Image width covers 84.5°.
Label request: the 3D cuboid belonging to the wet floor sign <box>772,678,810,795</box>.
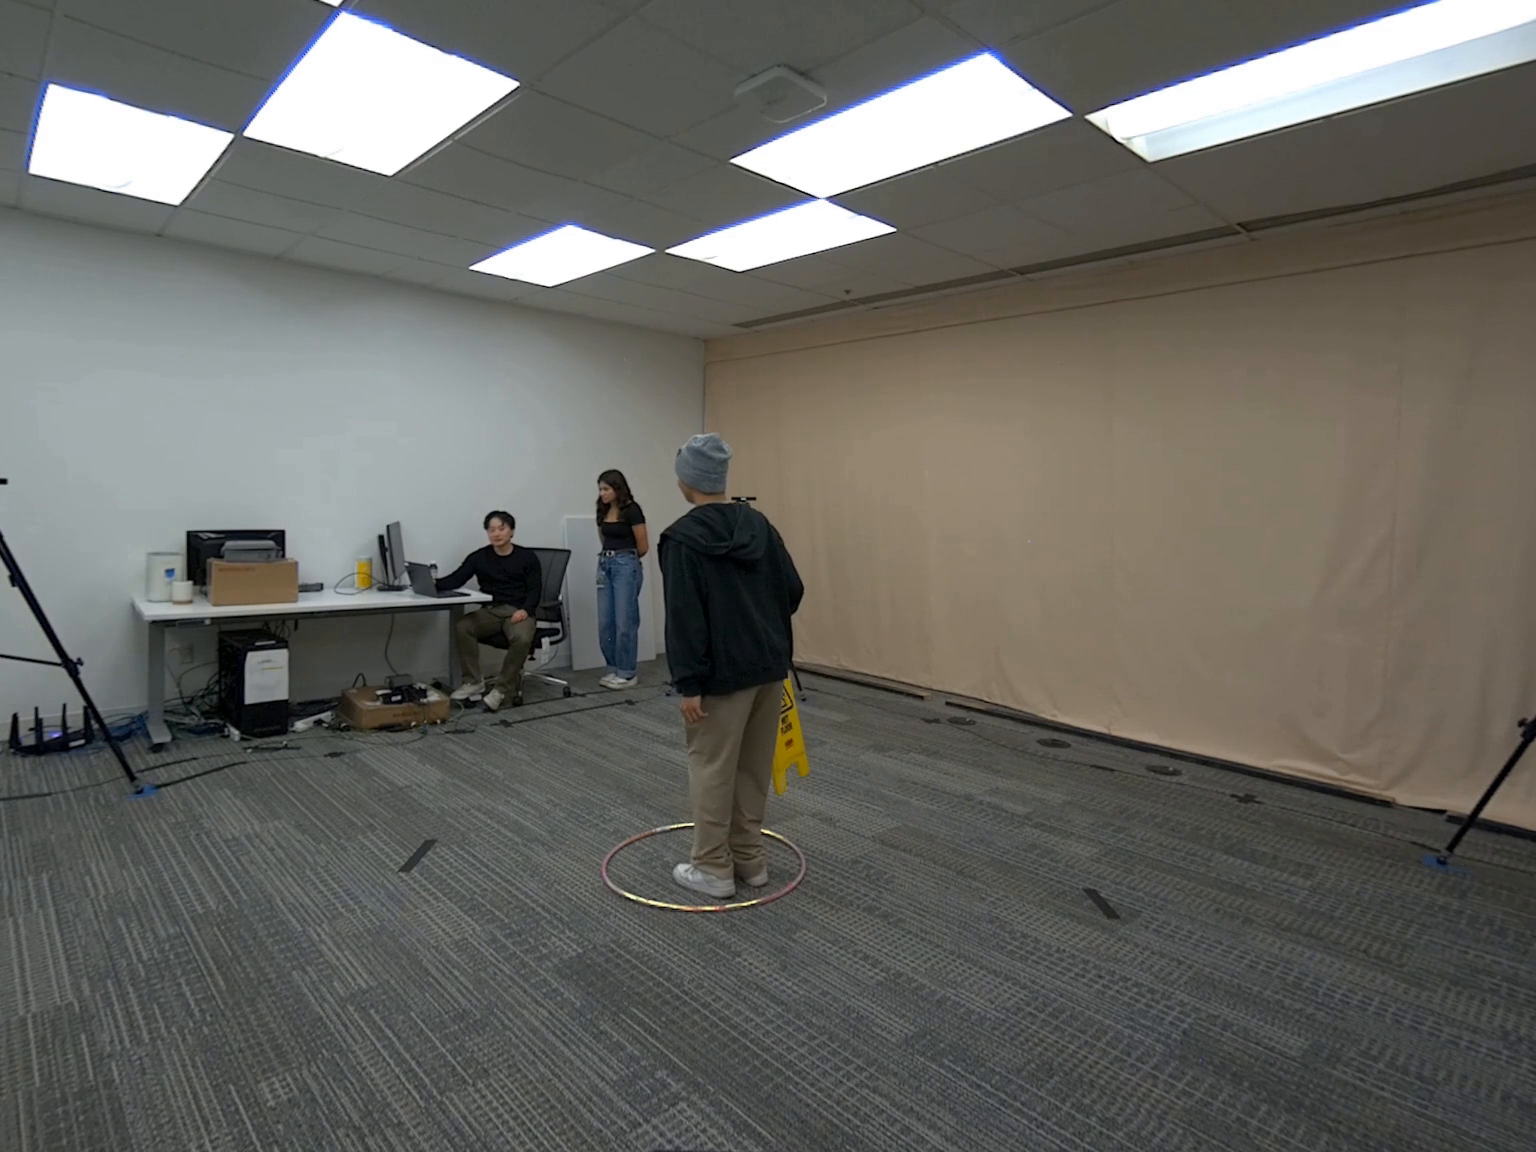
[{"bbox_3d":[-0.018,0.499,3.362,0.295,0.644,0.278,2,5,27],"label":"wet floor sign"}]
